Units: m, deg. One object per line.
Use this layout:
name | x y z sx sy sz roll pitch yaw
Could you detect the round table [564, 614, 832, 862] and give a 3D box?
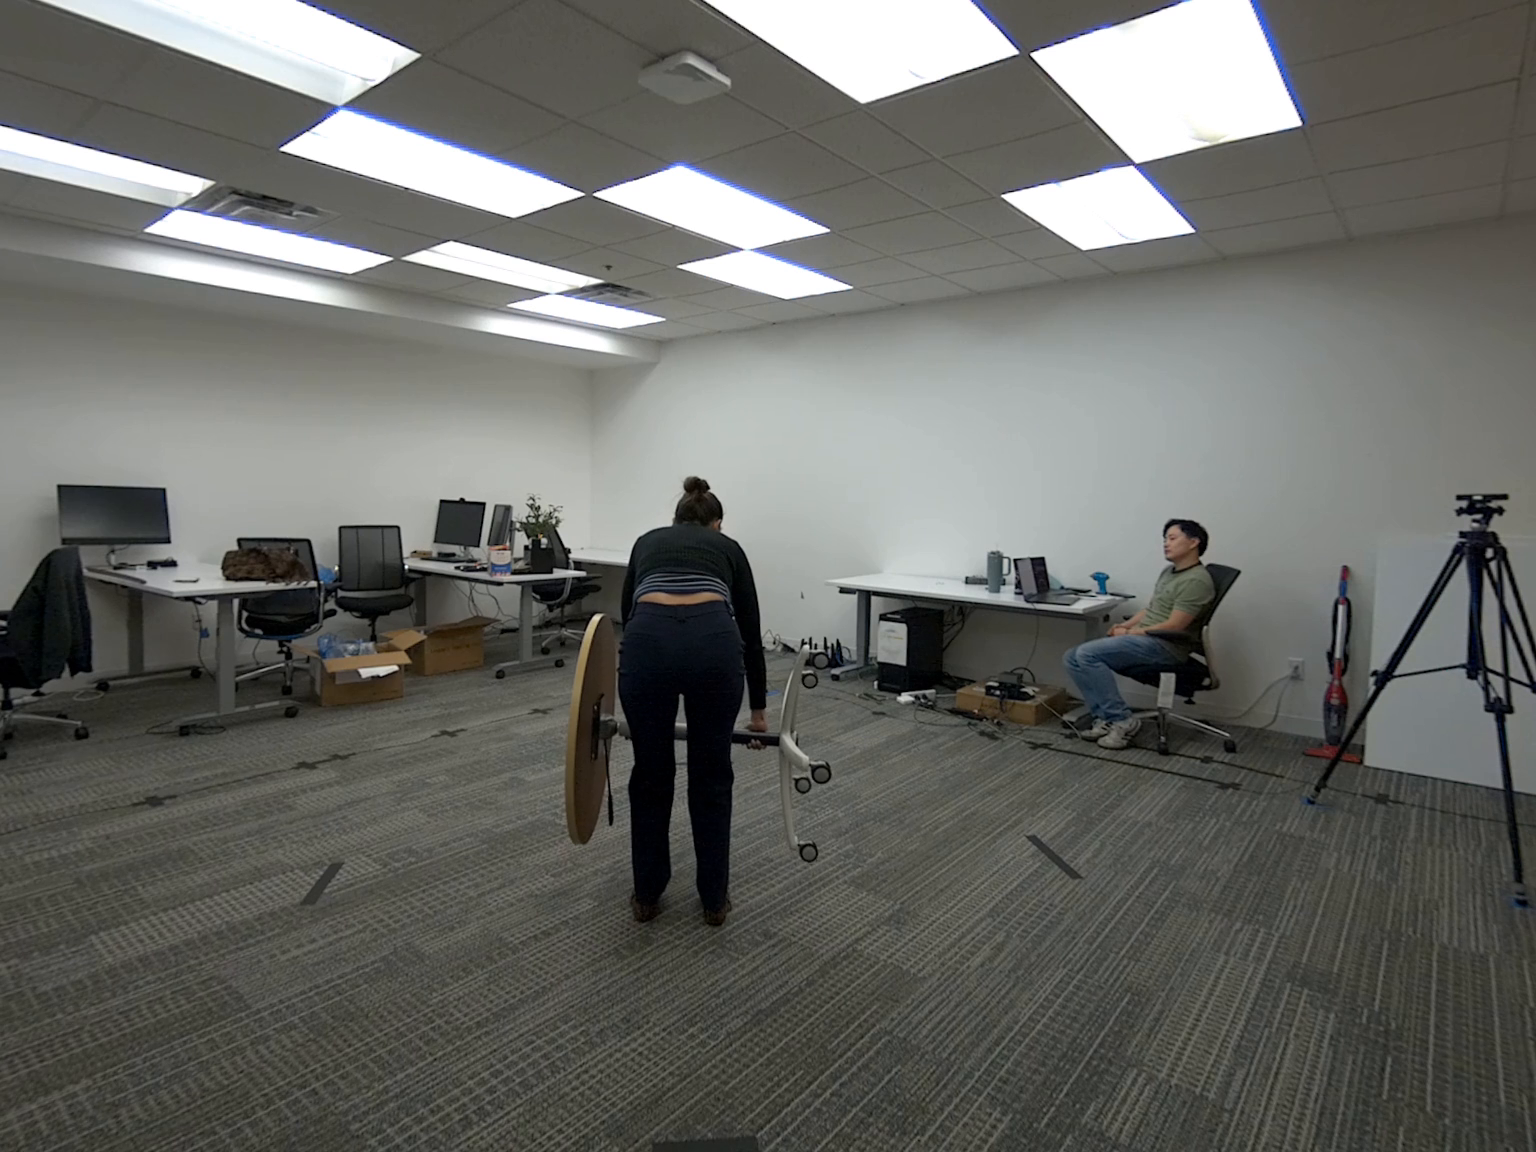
round table | -0.222 0.546 2.913 0.795 0.761 0.766 4 4 0
